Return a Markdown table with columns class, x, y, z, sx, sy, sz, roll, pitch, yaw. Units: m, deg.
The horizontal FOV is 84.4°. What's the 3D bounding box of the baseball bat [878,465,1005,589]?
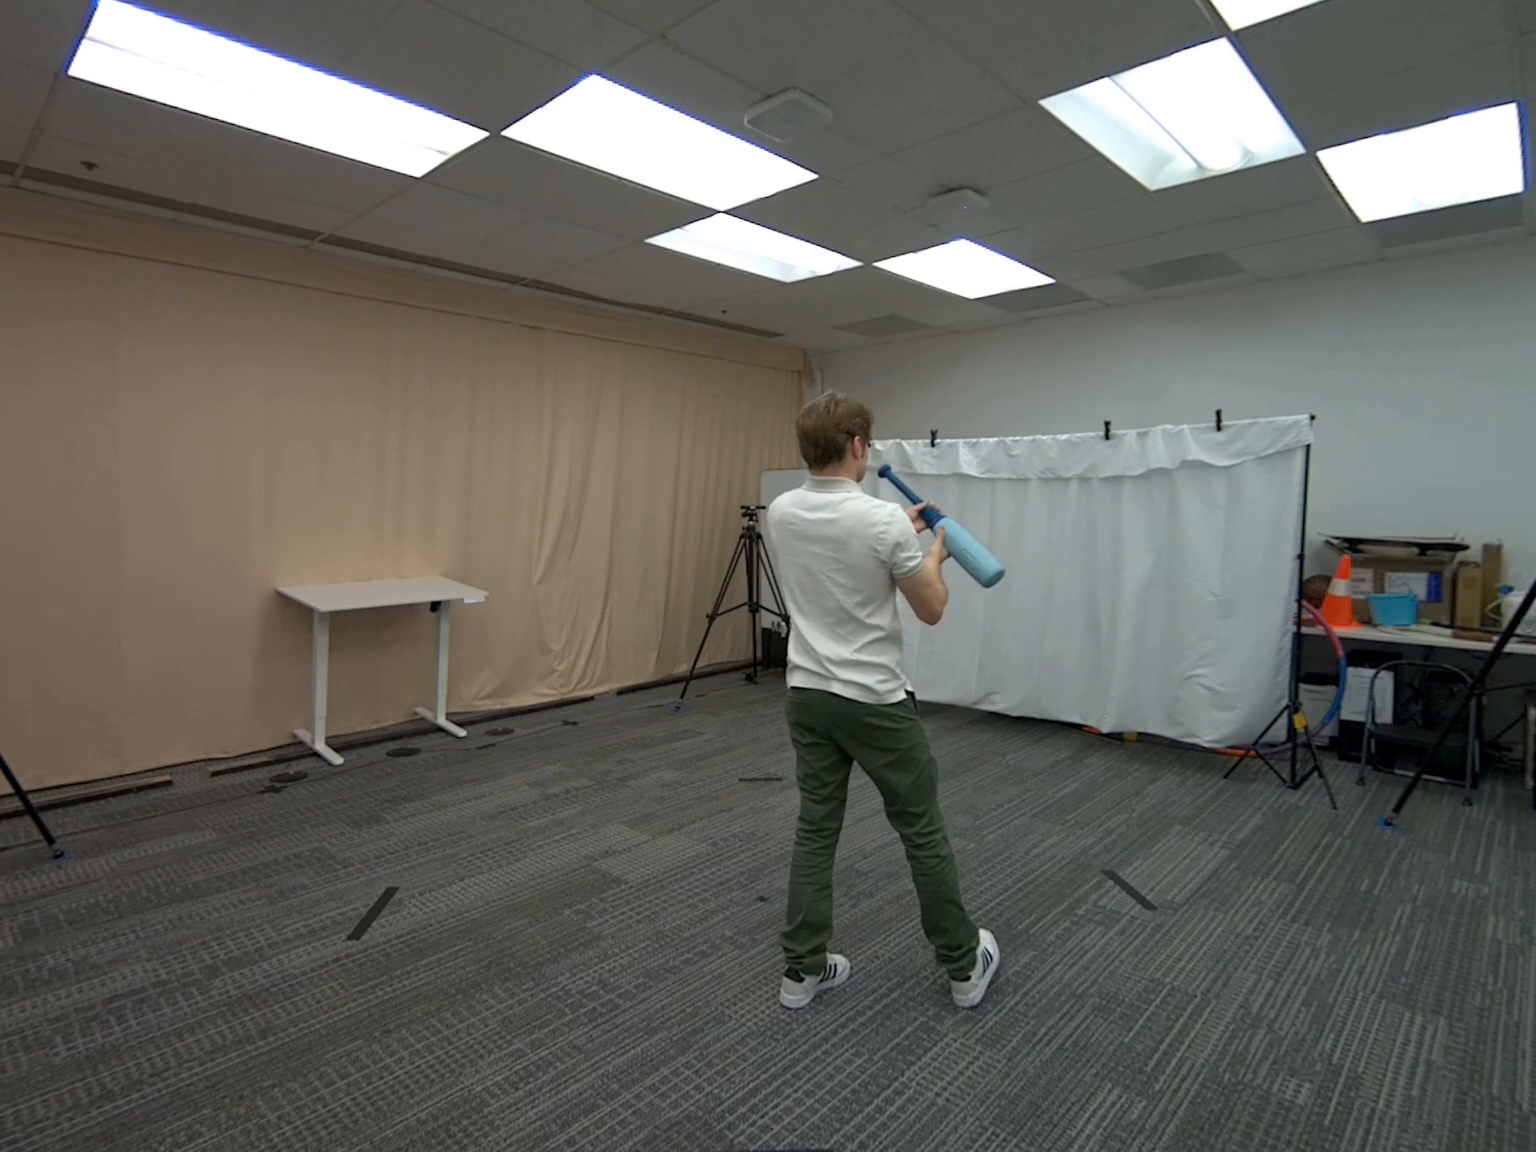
| class | x | y | z | sx | sy | sz | roll | pitch | yaw |
| --- | --- | --- | --- | --- | --- | --- | --- | --- | --- |
| baseball bat | 0.543 | -0.173 | 2.639 | 0.086 | 0.089 | 0.560 | -3 | 45 | -42 |
